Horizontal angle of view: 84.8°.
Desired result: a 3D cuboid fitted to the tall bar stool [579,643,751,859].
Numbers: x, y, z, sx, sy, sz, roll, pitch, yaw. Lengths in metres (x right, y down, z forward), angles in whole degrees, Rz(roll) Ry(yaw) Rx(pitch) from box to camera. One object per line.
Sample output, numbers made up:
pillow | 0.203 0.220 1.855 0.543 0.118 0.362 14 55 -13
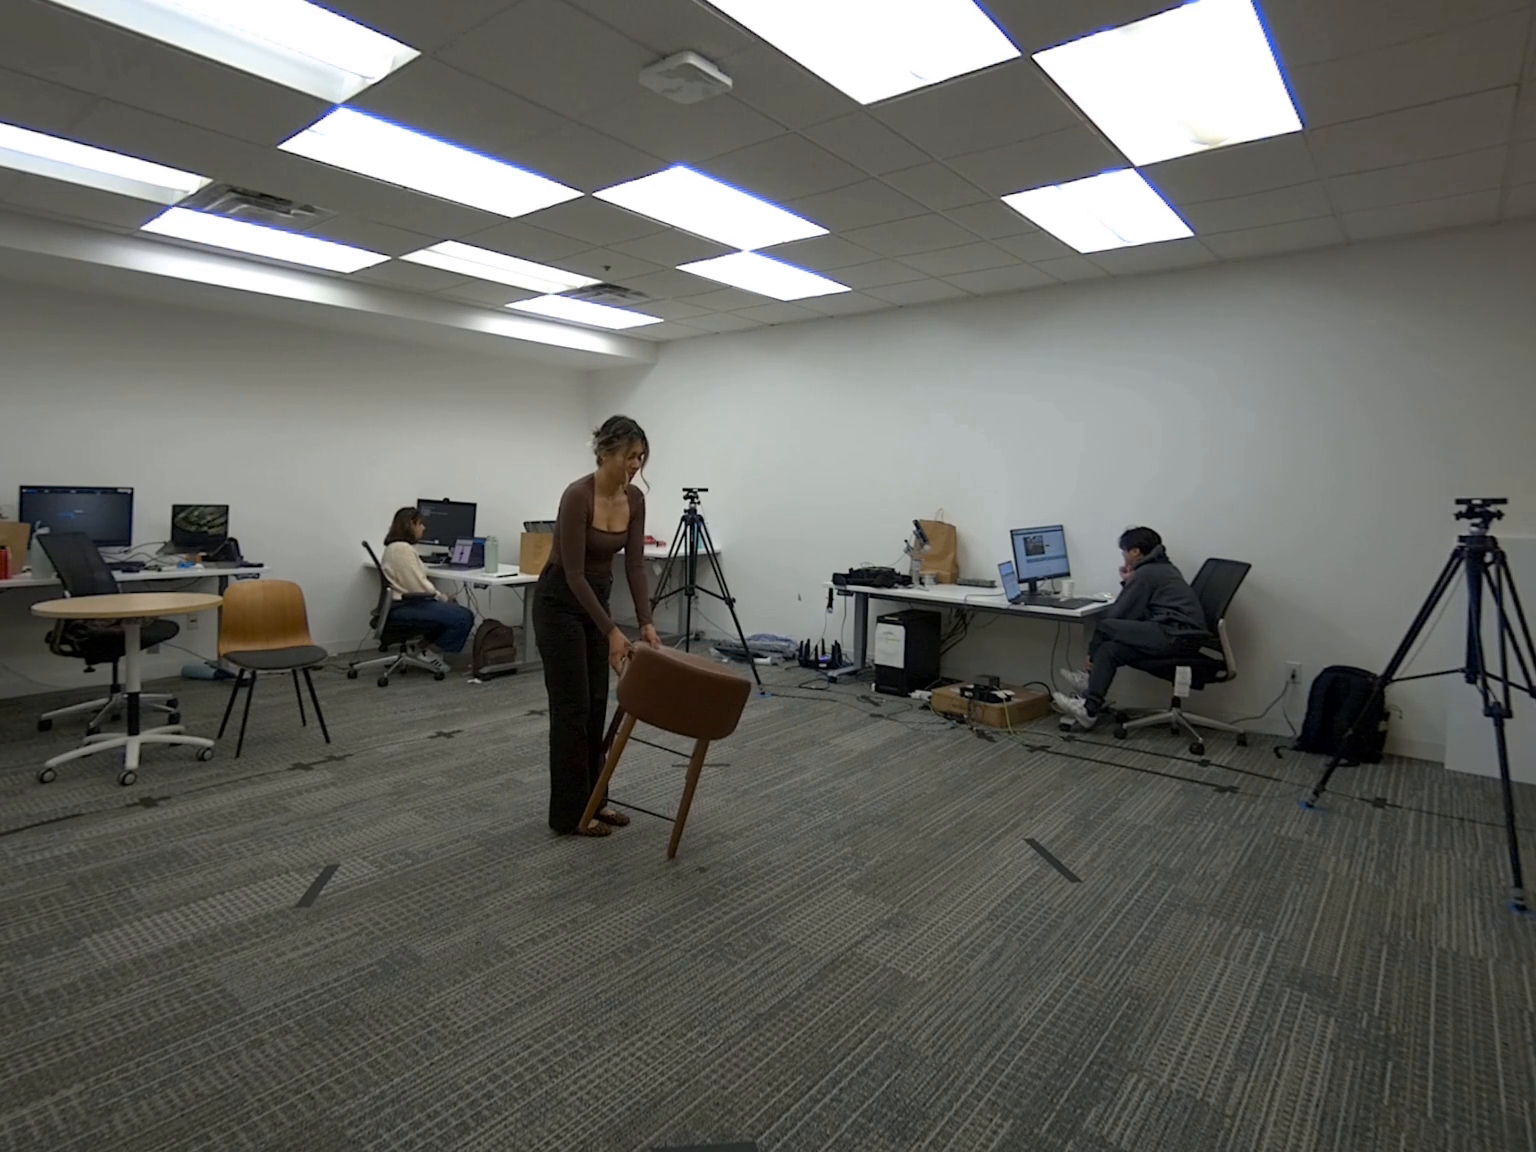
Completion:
tall bar stool | -0.386 0.547 3.201 0.455 0.878 0.476 19 28 -4
